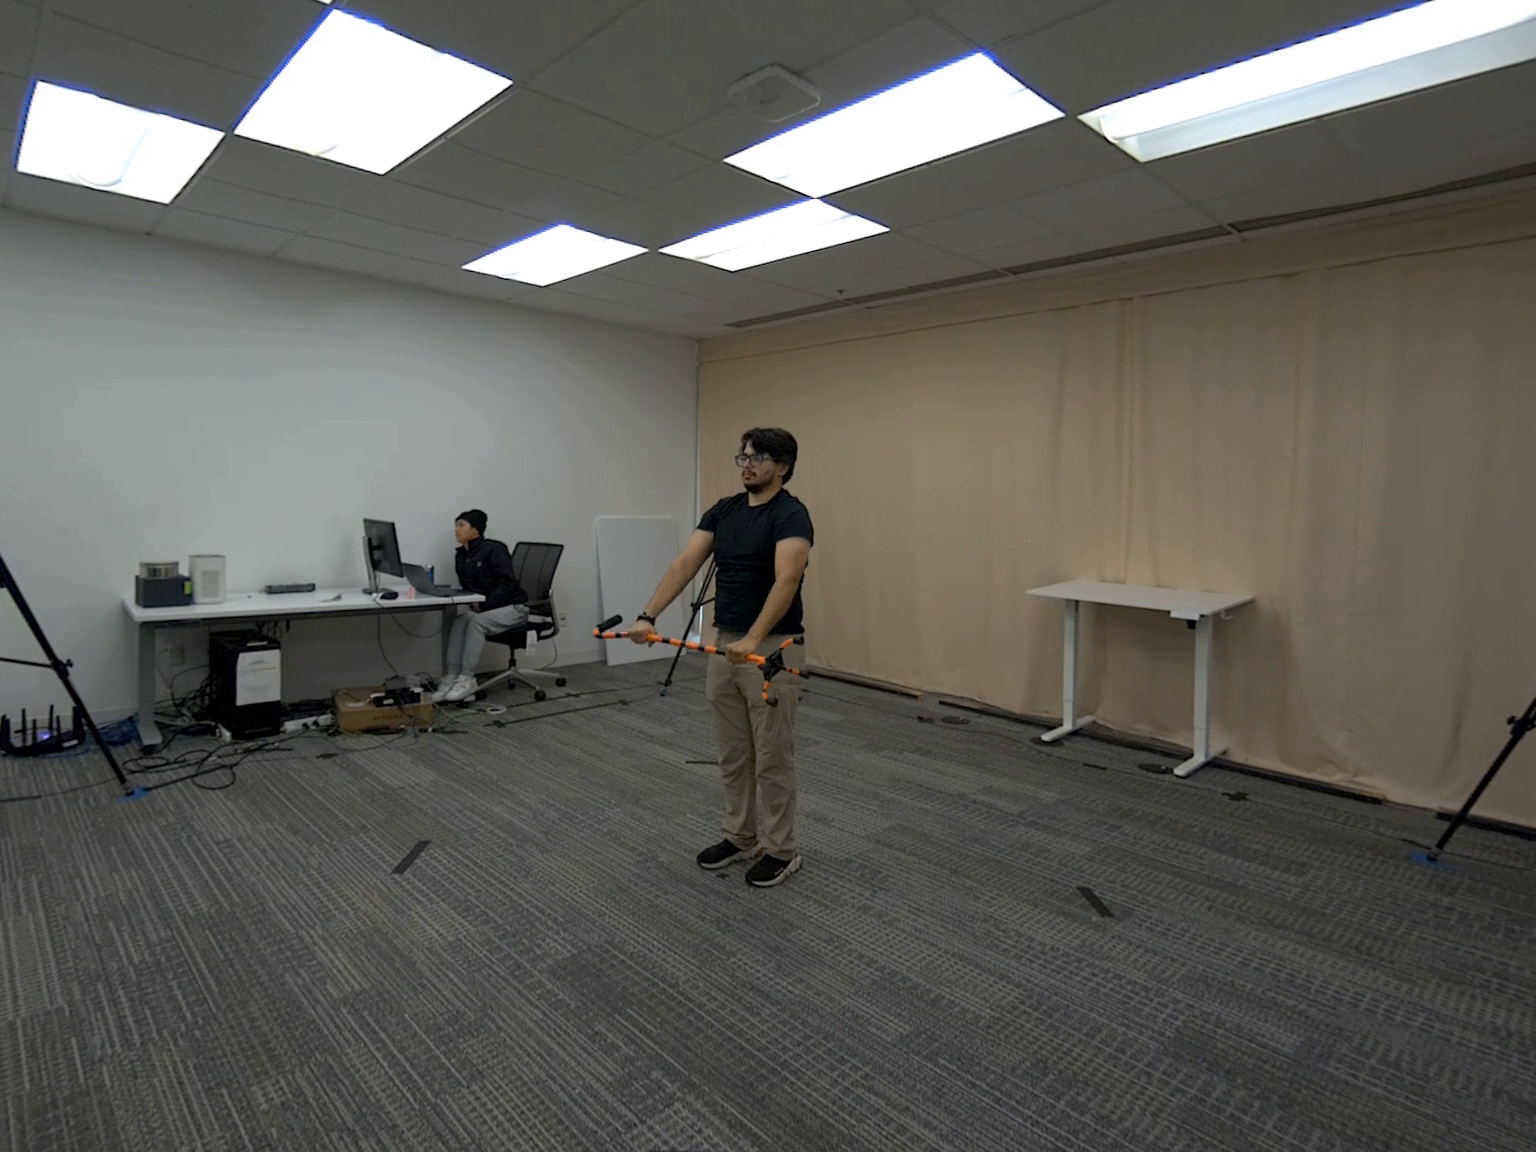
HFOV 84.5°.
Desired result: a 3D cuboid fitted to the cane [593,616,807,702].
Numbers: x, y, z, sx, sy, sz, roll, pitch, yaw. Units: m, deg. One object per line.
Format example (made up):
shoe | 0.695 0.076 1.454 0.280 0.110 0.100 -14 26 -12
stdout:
cane | -0.308 0.248 2.899 0.932 0.149 0.204 8 27 40
